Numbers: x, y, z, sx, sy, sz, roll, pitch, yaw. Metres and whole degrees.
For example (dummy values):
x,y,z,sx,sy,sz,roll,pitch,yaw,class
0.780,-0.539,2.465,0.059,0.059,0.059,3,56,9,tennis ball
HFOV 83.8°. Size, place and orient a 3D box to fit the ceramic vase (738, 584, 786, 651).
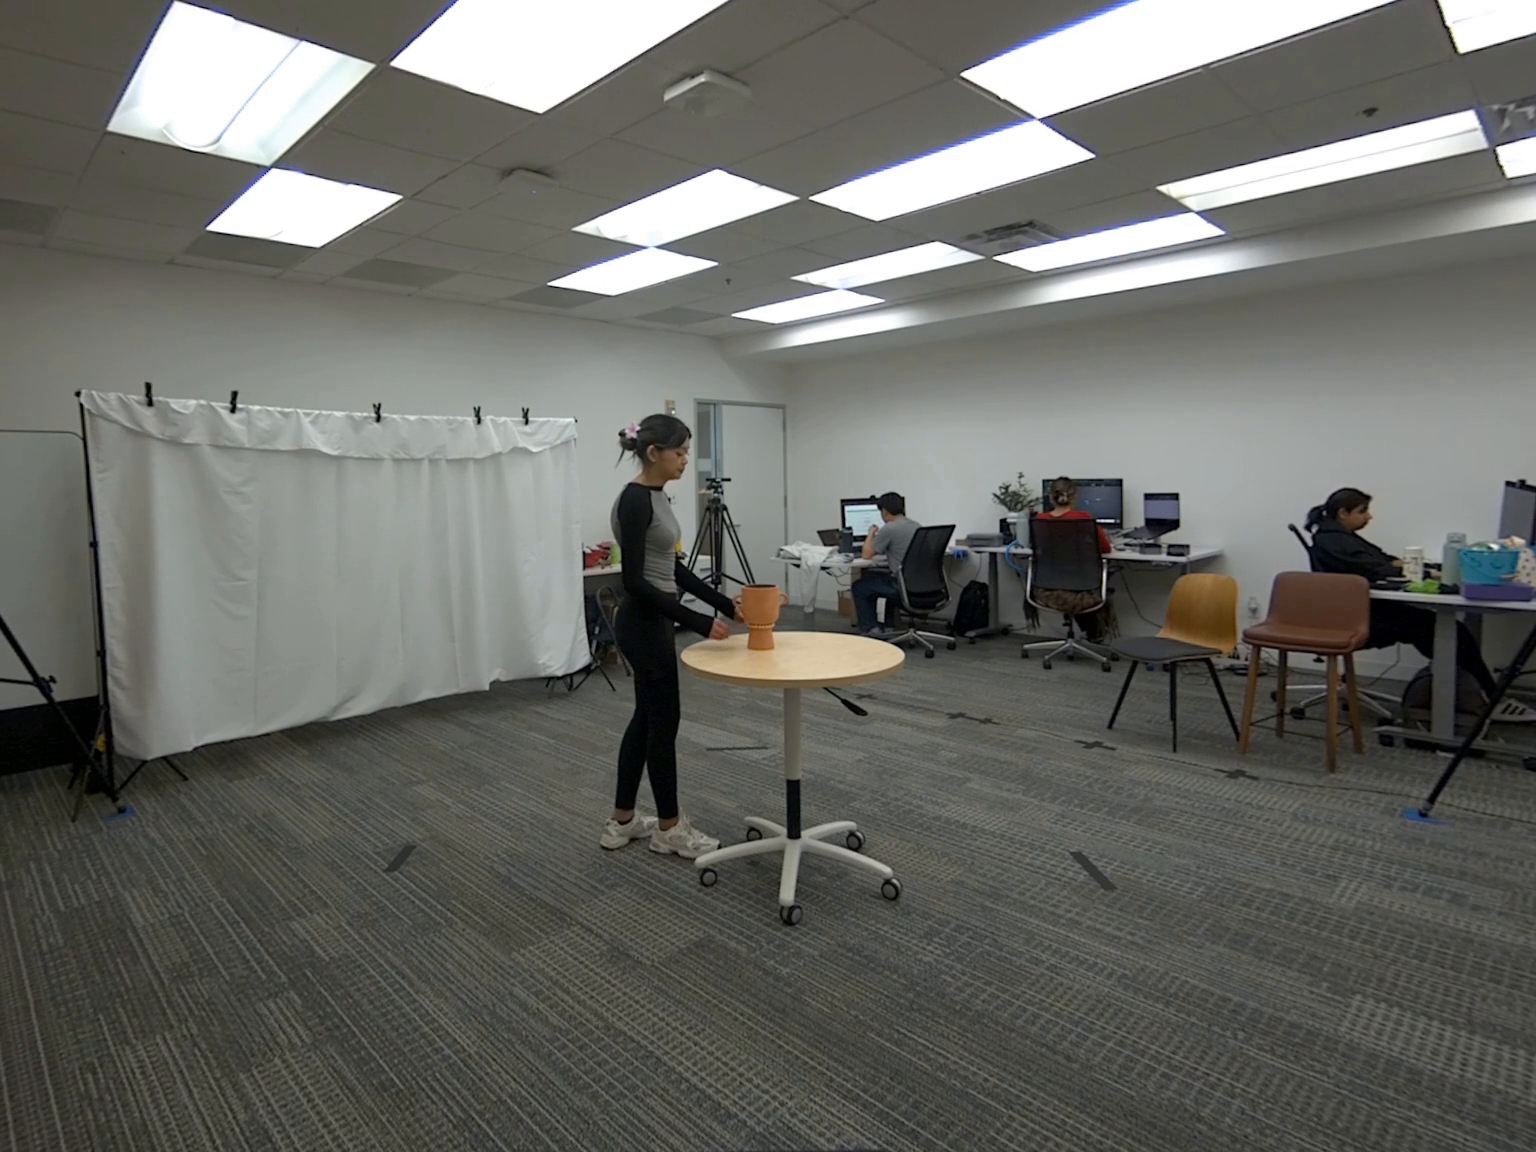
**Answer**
x,y,z,sx,sy,sz,roll,pitch,yaw,class
-0.030,0.143,3.039,0.163,0.219,0.131,2,5,32,ceramic vase
